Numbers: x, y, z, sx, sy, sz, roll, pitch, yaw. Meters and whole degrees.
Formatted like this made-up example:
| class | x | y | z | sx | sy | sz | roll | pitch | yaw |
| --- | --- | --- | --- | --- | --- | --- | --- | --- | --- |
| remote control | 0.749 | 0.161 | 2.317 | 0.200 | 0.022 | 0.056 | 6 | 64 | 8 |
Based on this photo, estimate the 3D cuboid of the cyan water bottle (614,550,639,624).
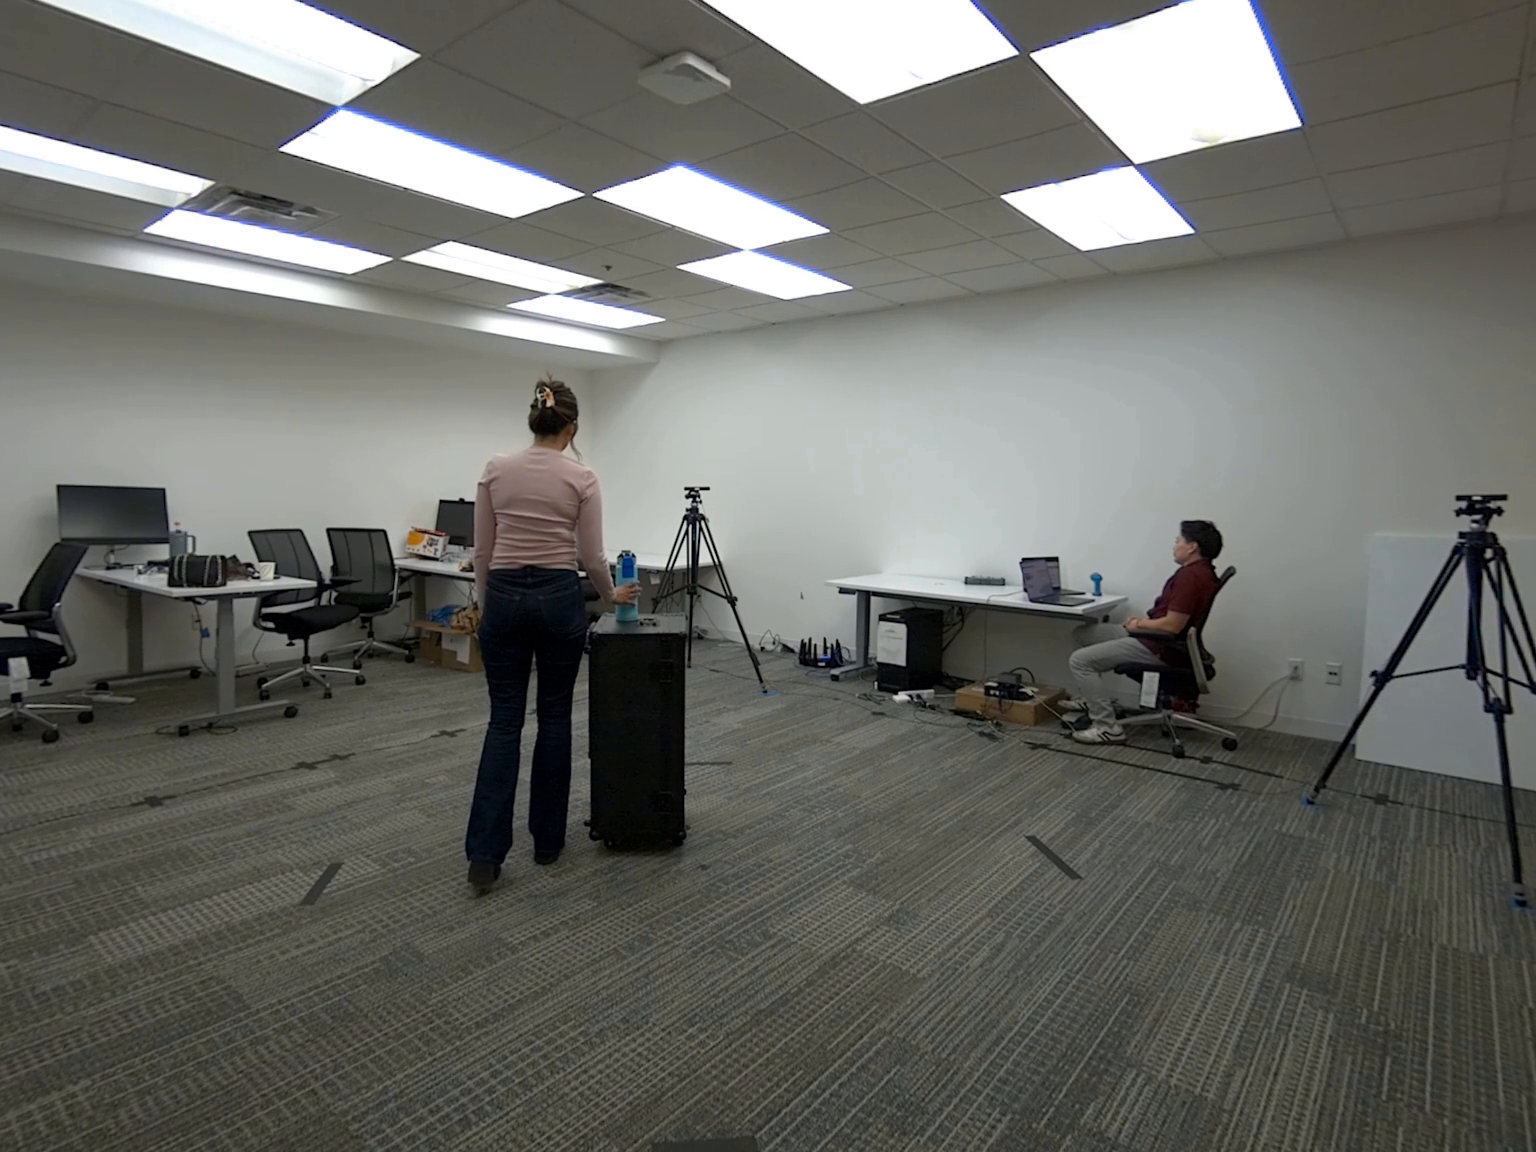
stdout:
| class | x | y | z | sx | sy | sz | roll | pitch | yaw |
| --- | --- | --- | --- | --- | --- | --- | --- | --- | --- |
| cyan water bottle | -0.586 | 0.033 | 3.475 | 0.092 | 0.282 | 0.093 | 5 | 6 | -2 |
